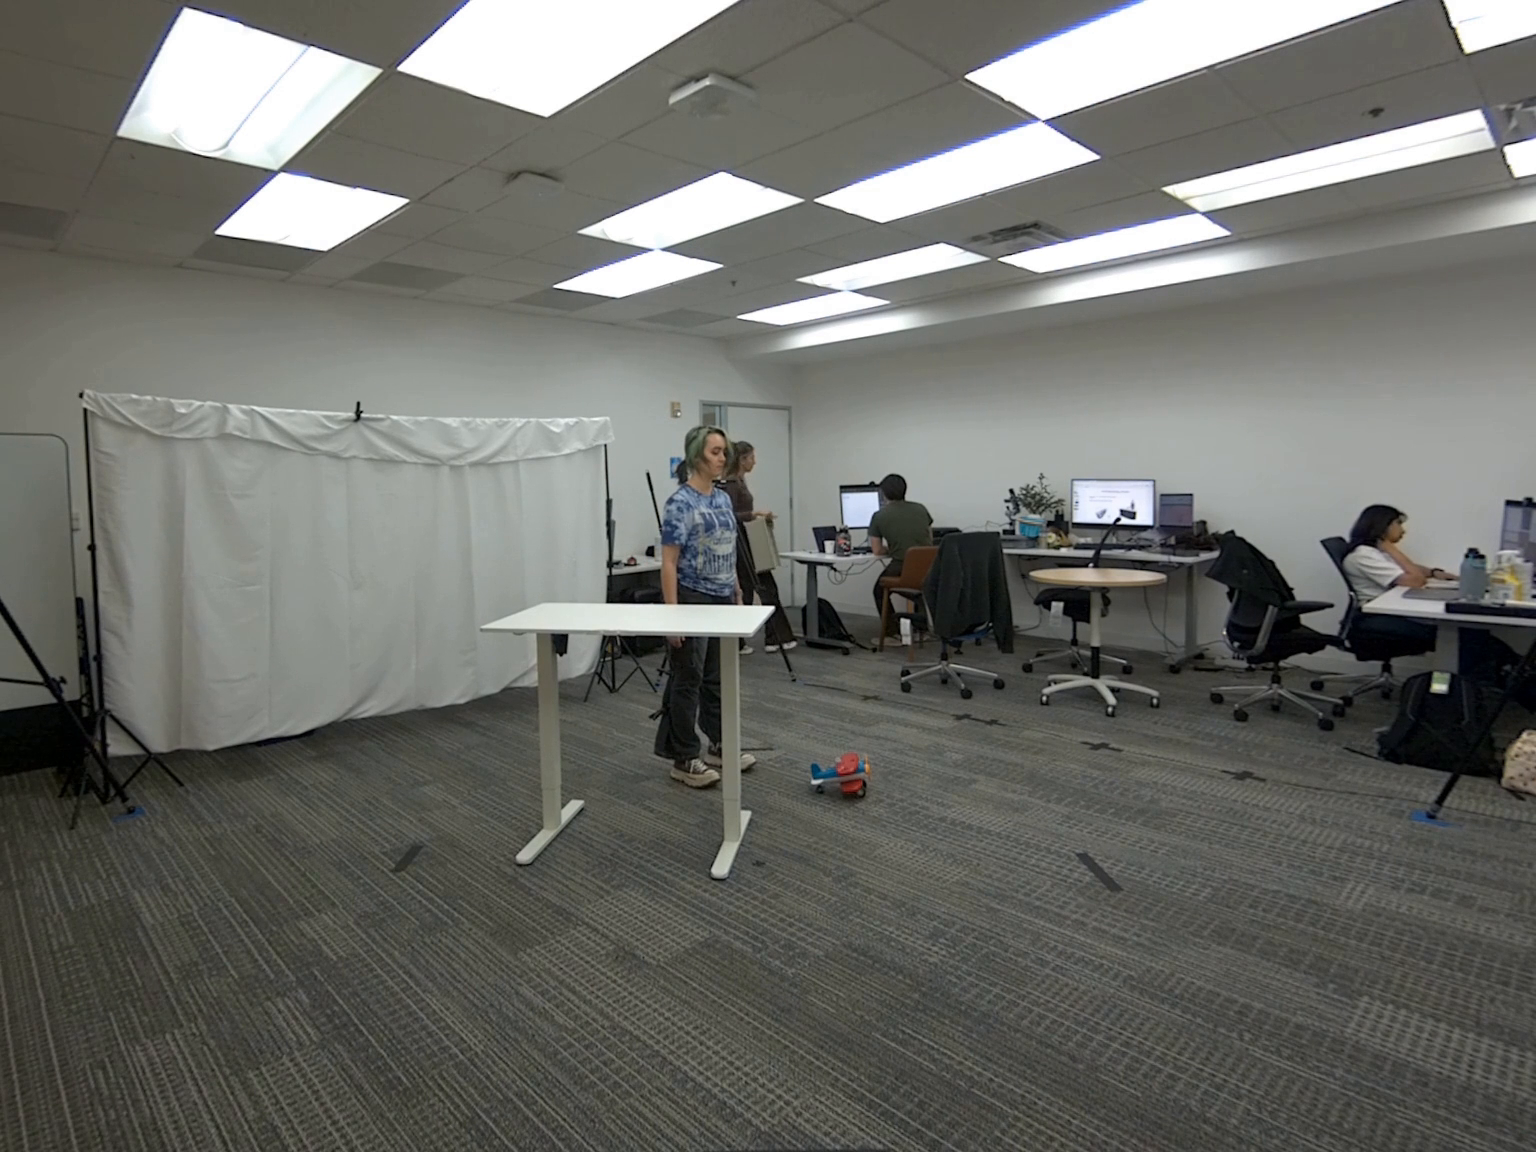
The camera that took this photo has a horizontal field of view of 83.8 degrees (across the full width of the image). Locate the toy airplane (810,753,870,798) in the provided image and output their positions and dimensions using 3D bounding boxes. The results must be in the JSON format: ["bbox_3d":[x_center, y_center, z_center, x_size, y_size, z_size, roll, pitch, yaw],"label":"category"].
[{"bbox_3d":[0.324,0.893,3.774,0.255,0.156,0.256,-2,6,-18],"label":"toy airplane"}]
